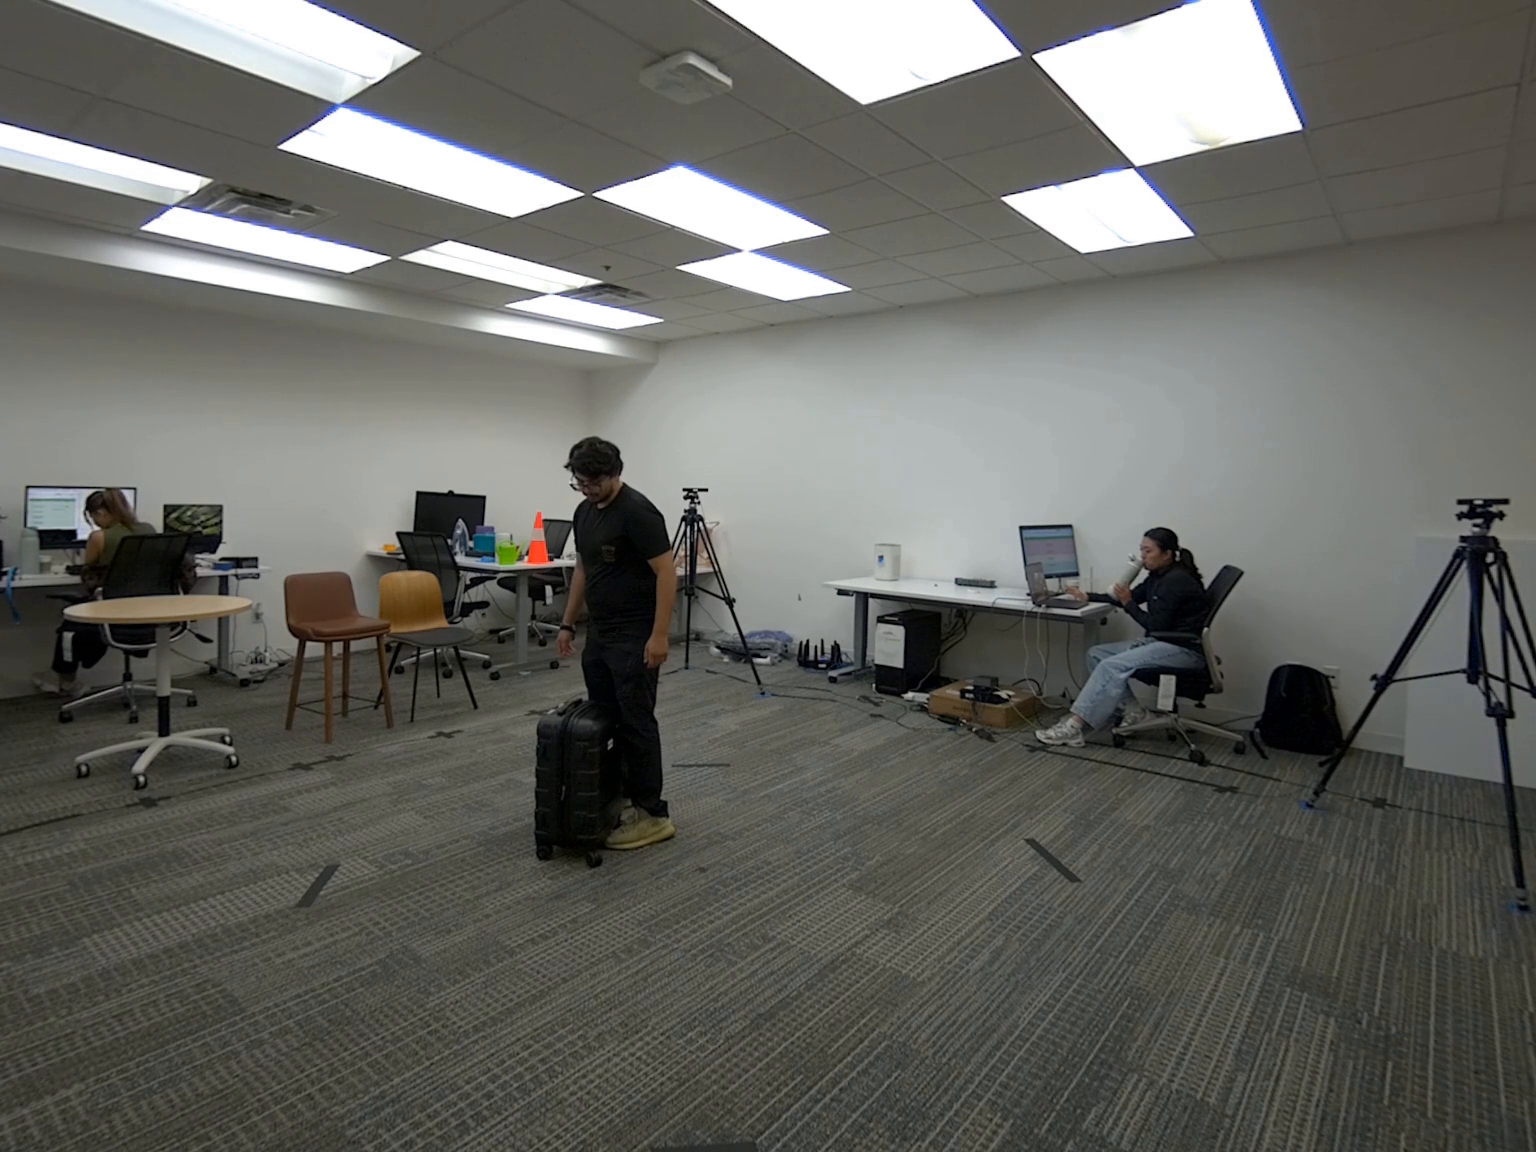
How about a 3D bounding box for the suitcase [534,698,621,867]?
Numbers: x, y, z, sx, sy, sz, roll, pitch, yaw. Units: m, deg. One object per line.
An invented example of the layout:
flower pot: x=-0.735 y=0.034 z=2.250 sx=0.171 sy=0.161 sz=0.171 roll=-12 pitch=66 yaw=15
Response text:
suitcase: x=-0.740 y=0.773 z=3.287 sx=0.251 sy=0.548 sz=0.372 roll=1 pitch=3 yaw=8
